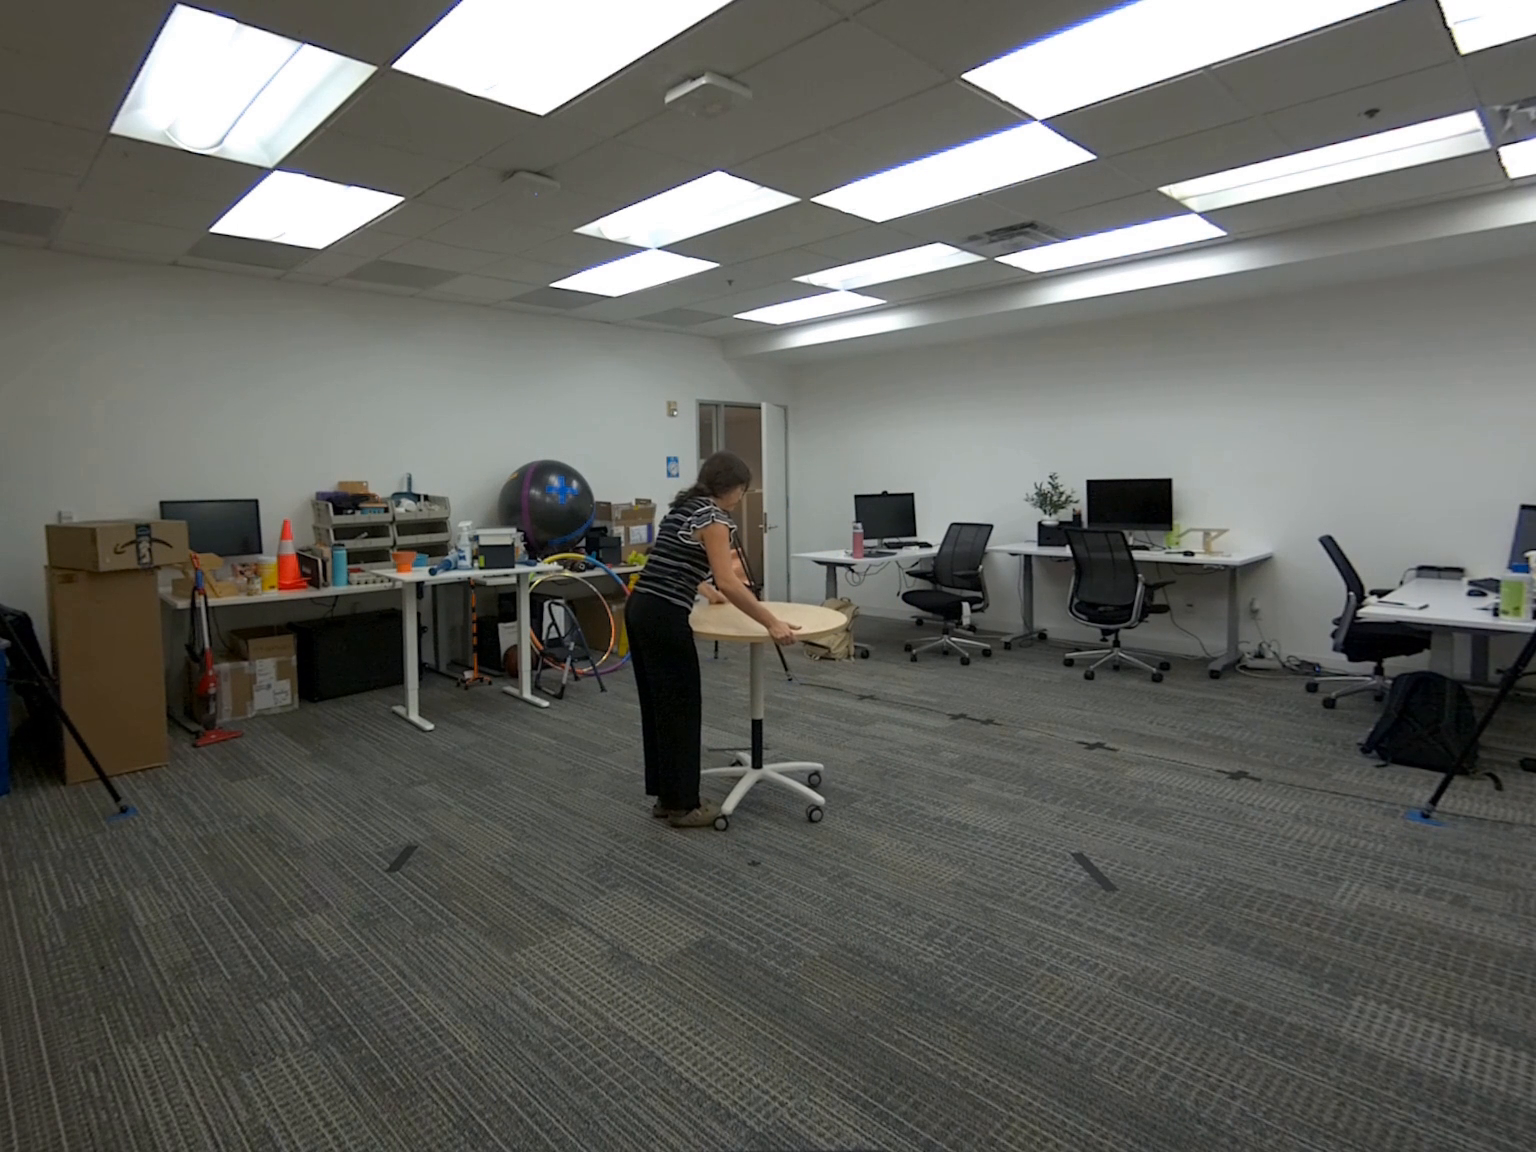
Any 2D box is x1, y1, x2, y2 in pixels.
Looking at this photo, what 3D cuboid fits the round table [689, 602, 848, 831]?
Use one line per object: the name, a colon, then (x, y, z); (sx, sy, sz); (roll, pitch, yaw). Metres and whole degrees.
round table: (-0.045, 0.572, 3.683); (0.763, 0.790, 0.769); (0, 6, -2)
